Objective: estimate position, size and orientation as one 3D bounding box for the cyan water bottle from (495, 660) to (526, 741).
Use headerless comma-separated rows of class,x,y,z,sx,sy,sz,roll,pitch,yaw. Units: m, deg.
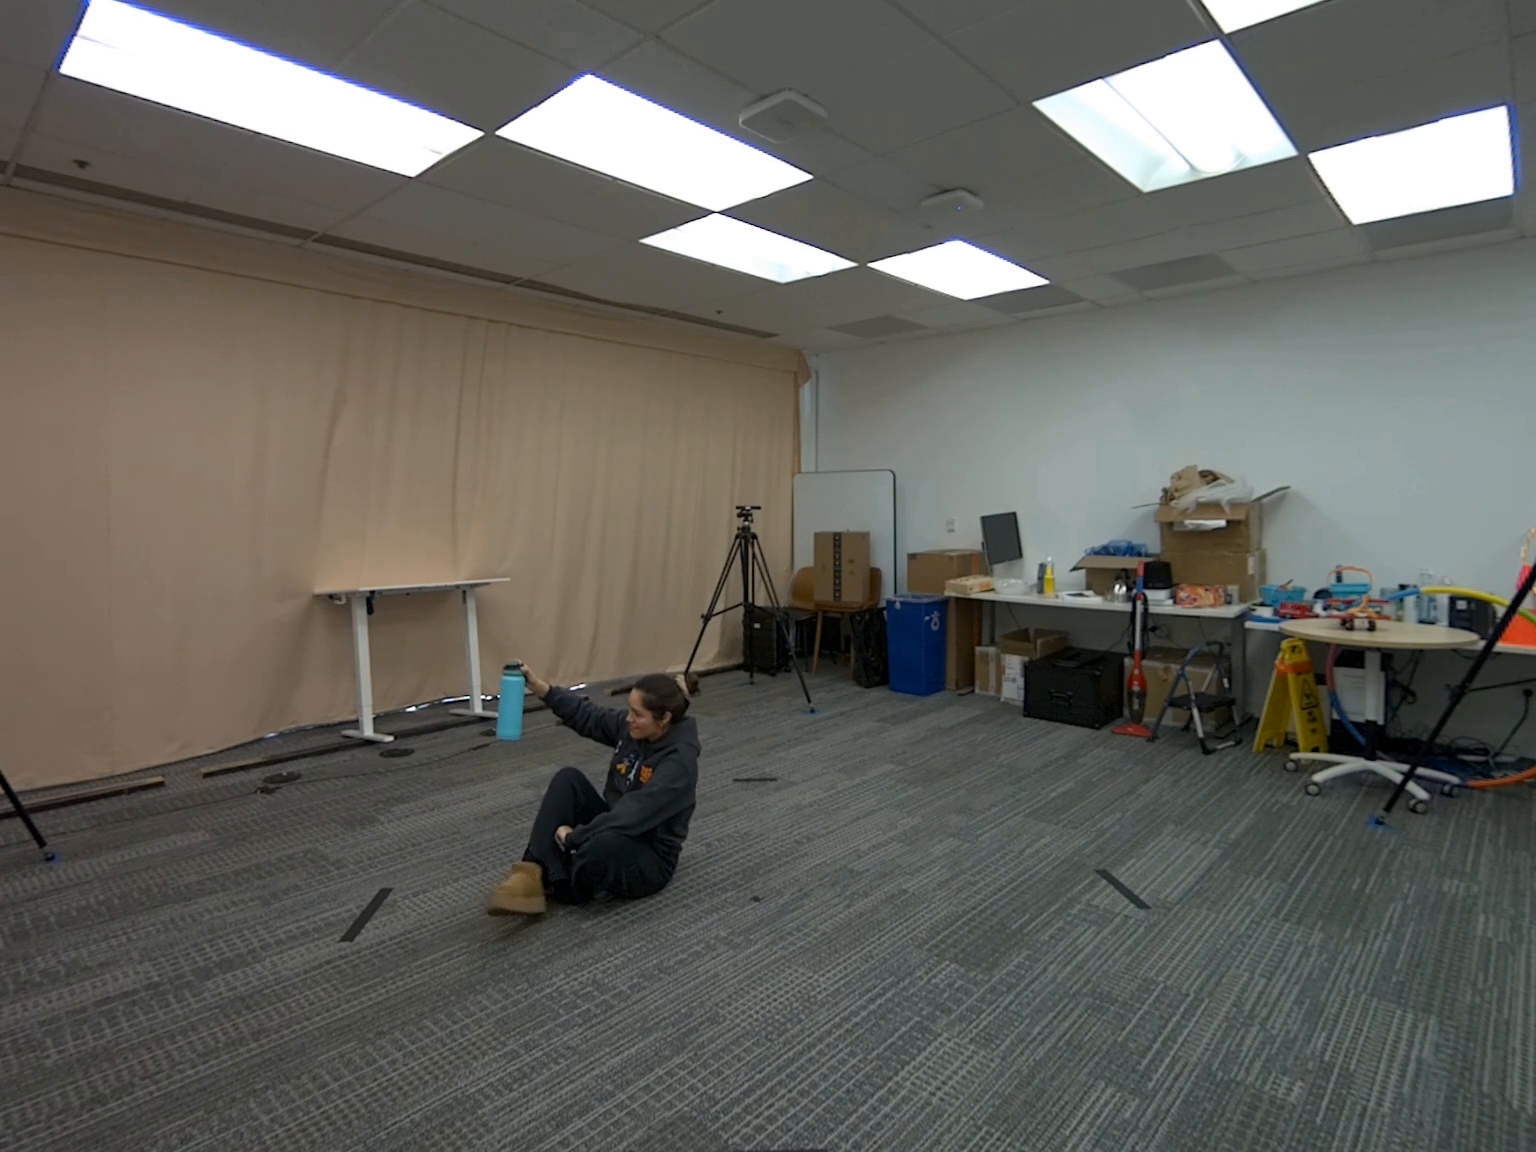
cyan water bottle,-0.933,0.465,3.103,0.092,0.284,0.092,2,-2,-2
